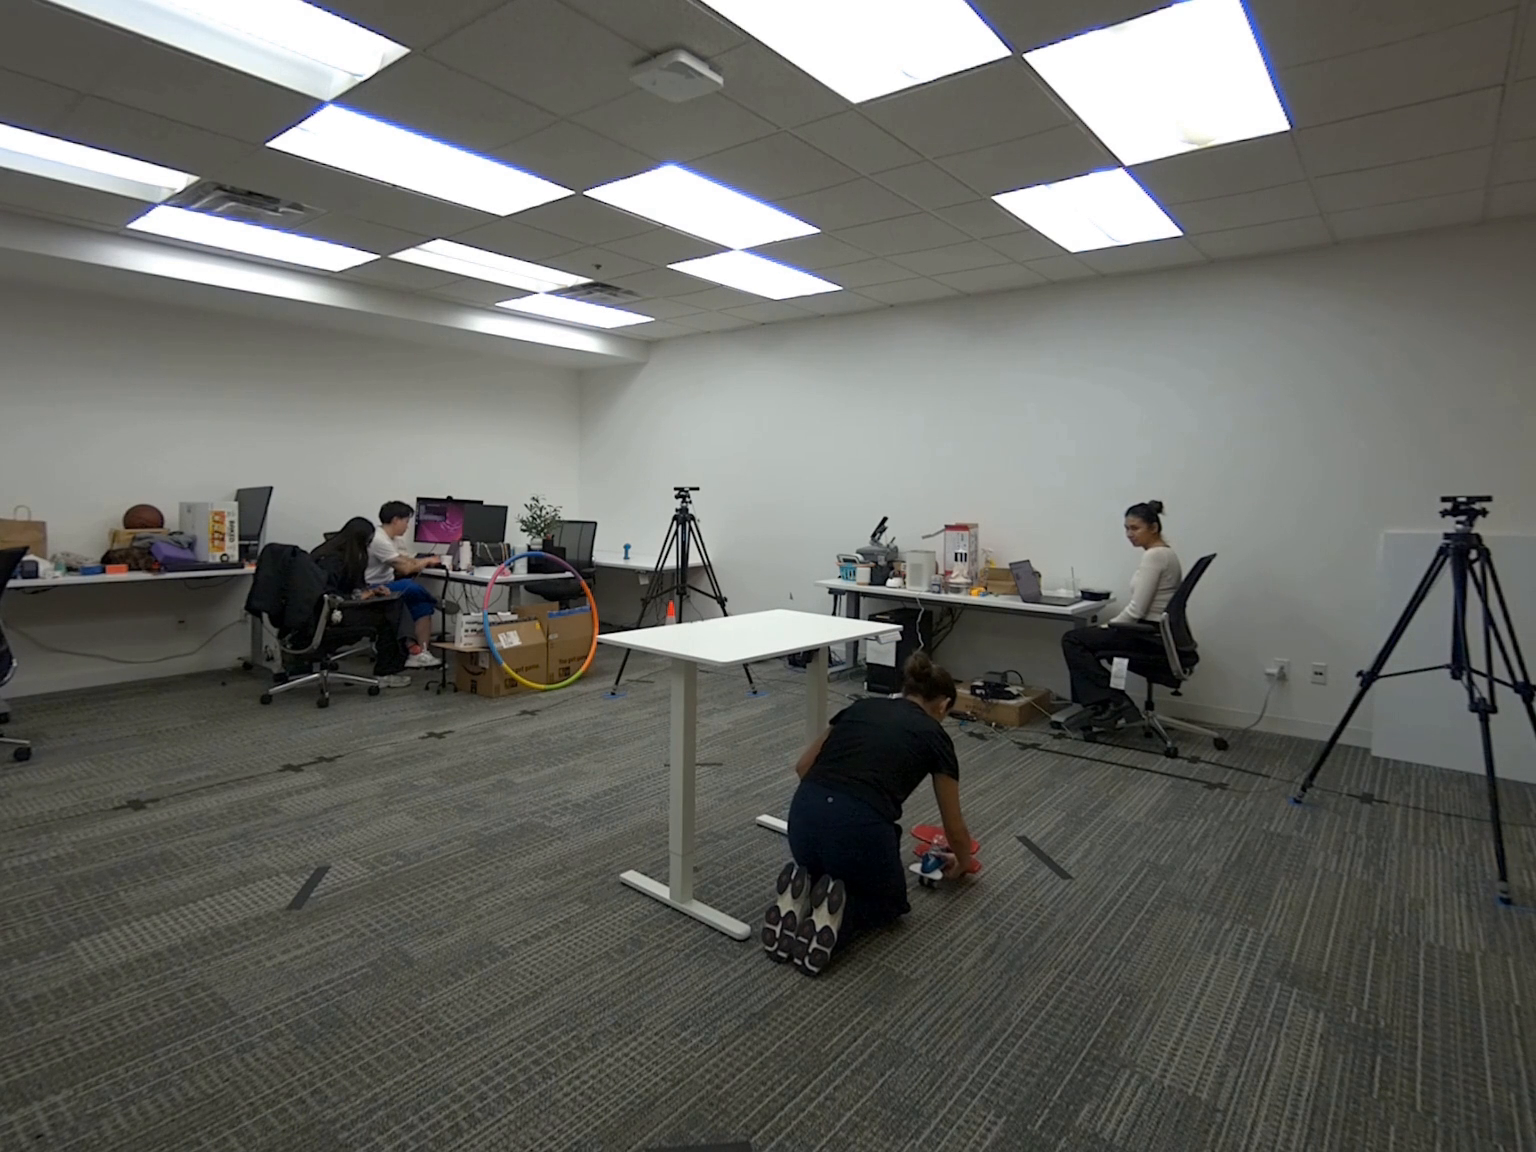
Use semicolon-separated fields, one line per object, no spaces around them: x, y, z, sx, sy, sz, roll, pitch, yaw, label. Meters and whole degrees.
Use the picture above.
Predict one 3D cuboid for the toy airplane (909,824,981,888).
0.660;1.015;3.064;0.255;0.156;0.256;3;4;14;toy airplane
